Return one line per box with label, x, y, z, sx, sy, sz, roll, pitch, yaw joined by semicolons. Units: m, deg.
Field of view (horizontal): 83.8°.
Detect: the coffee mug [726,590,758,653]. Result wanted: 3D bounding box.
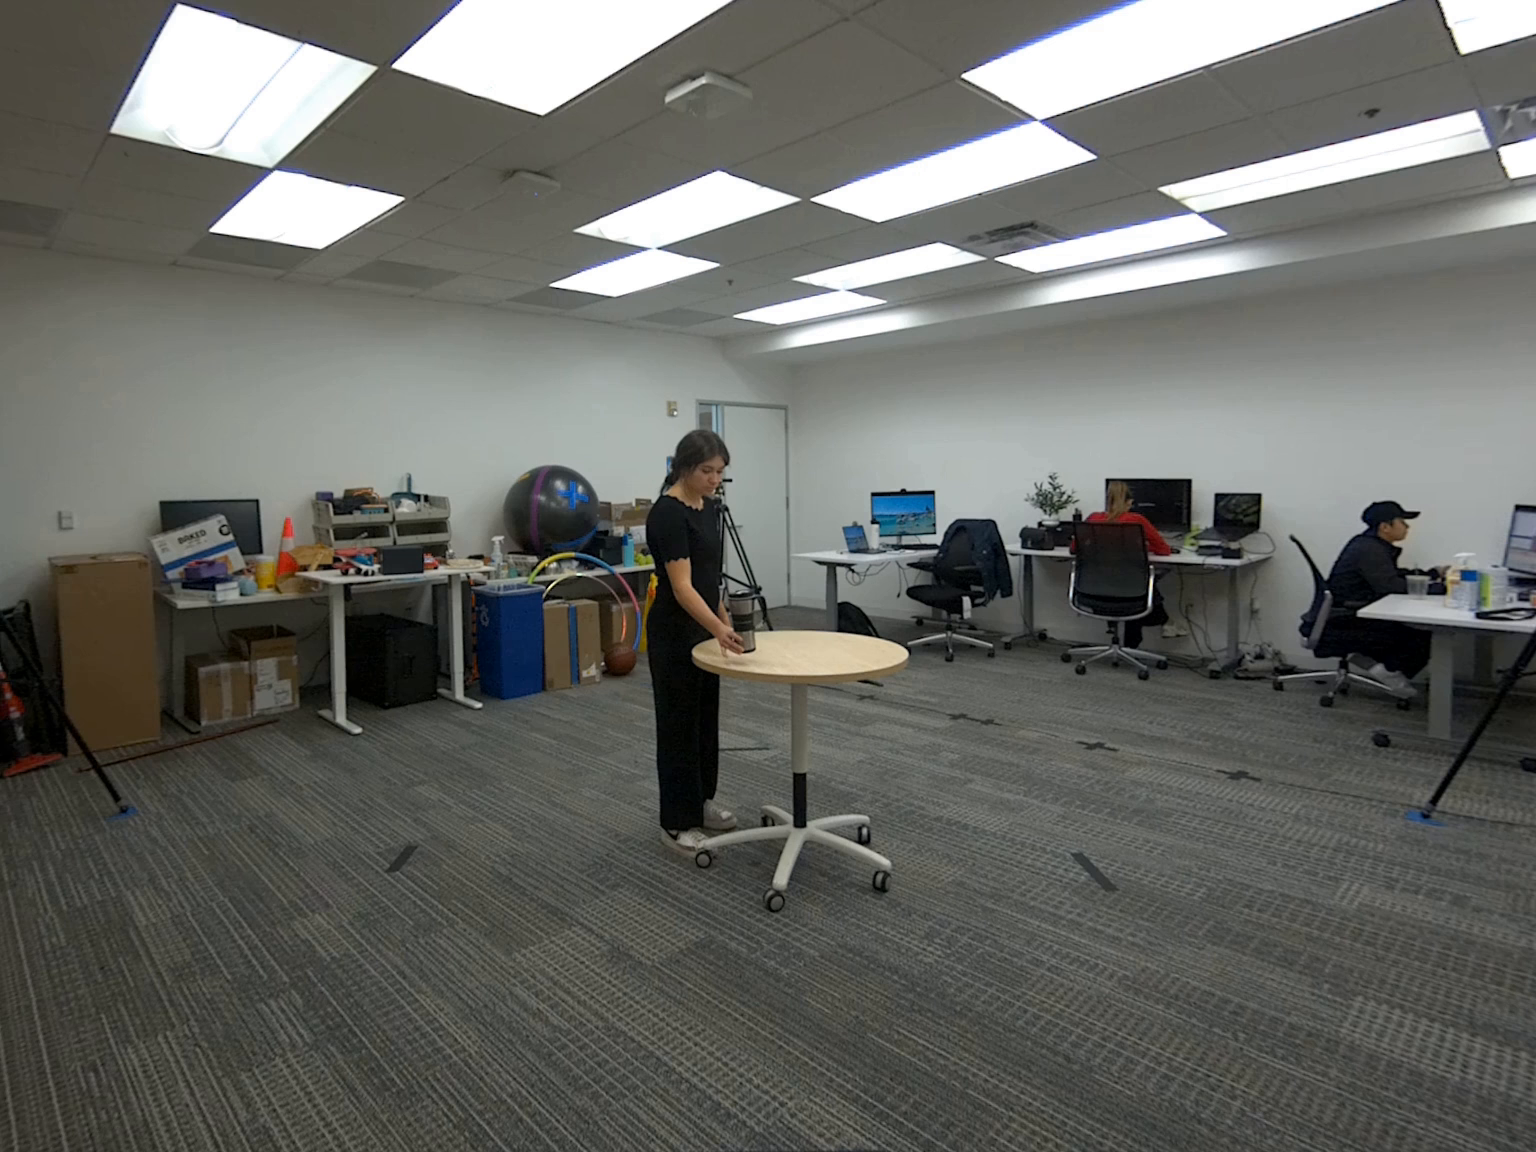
coffee mug;-0.057;0.151;2.811;0.125;0.202;0.086;-3;5;34
